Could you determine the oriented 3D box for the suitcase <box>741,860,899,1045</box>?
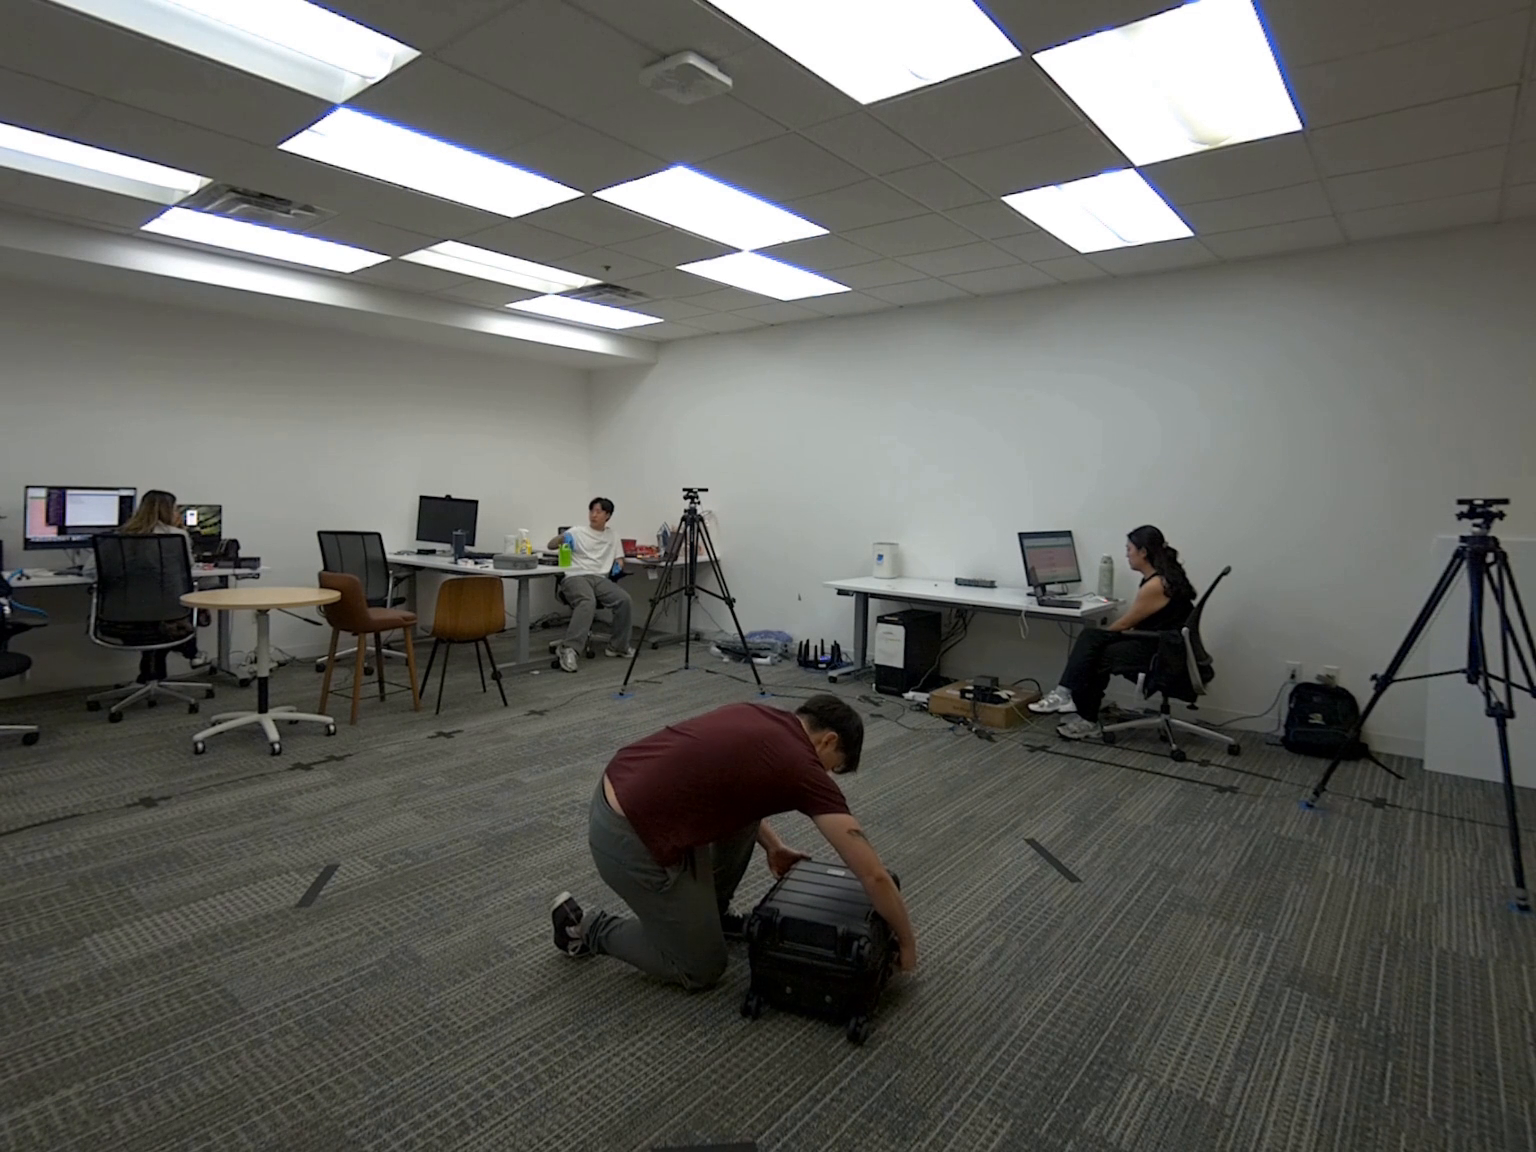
[{"bbox_3d":[0.225,1.009,2.618,0.391,0.256,0.963,0,5,17],"label":"suitcase"}]
